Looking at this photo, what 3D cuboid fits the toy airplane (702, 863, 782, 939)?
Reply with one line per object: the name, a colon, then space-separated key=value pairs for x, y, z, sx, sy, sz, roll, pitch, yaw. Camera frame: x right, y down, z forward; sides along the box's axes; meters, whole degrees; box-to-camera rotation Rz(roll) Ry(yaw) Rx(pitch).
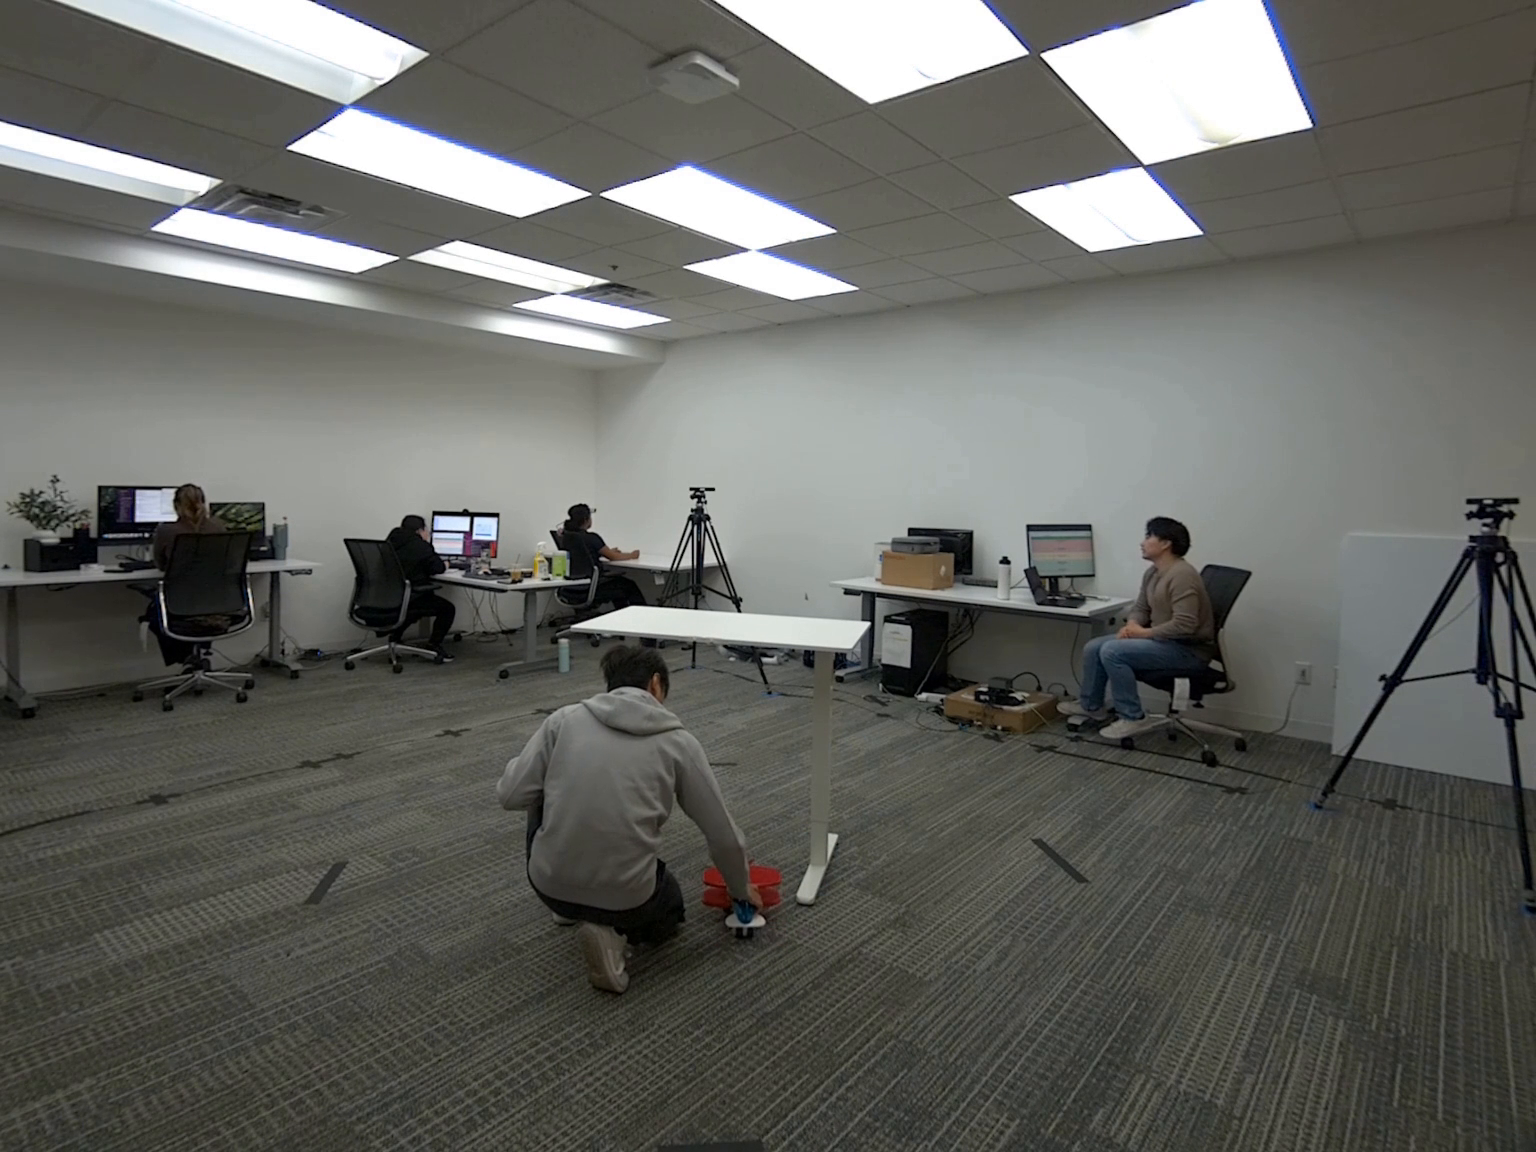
toy airplane: x=-0.072 y=1.037 z=2.718 sx=0.244 sy=0.156 sz=0.267 roll=-3 pitch=5 yaw=-33
